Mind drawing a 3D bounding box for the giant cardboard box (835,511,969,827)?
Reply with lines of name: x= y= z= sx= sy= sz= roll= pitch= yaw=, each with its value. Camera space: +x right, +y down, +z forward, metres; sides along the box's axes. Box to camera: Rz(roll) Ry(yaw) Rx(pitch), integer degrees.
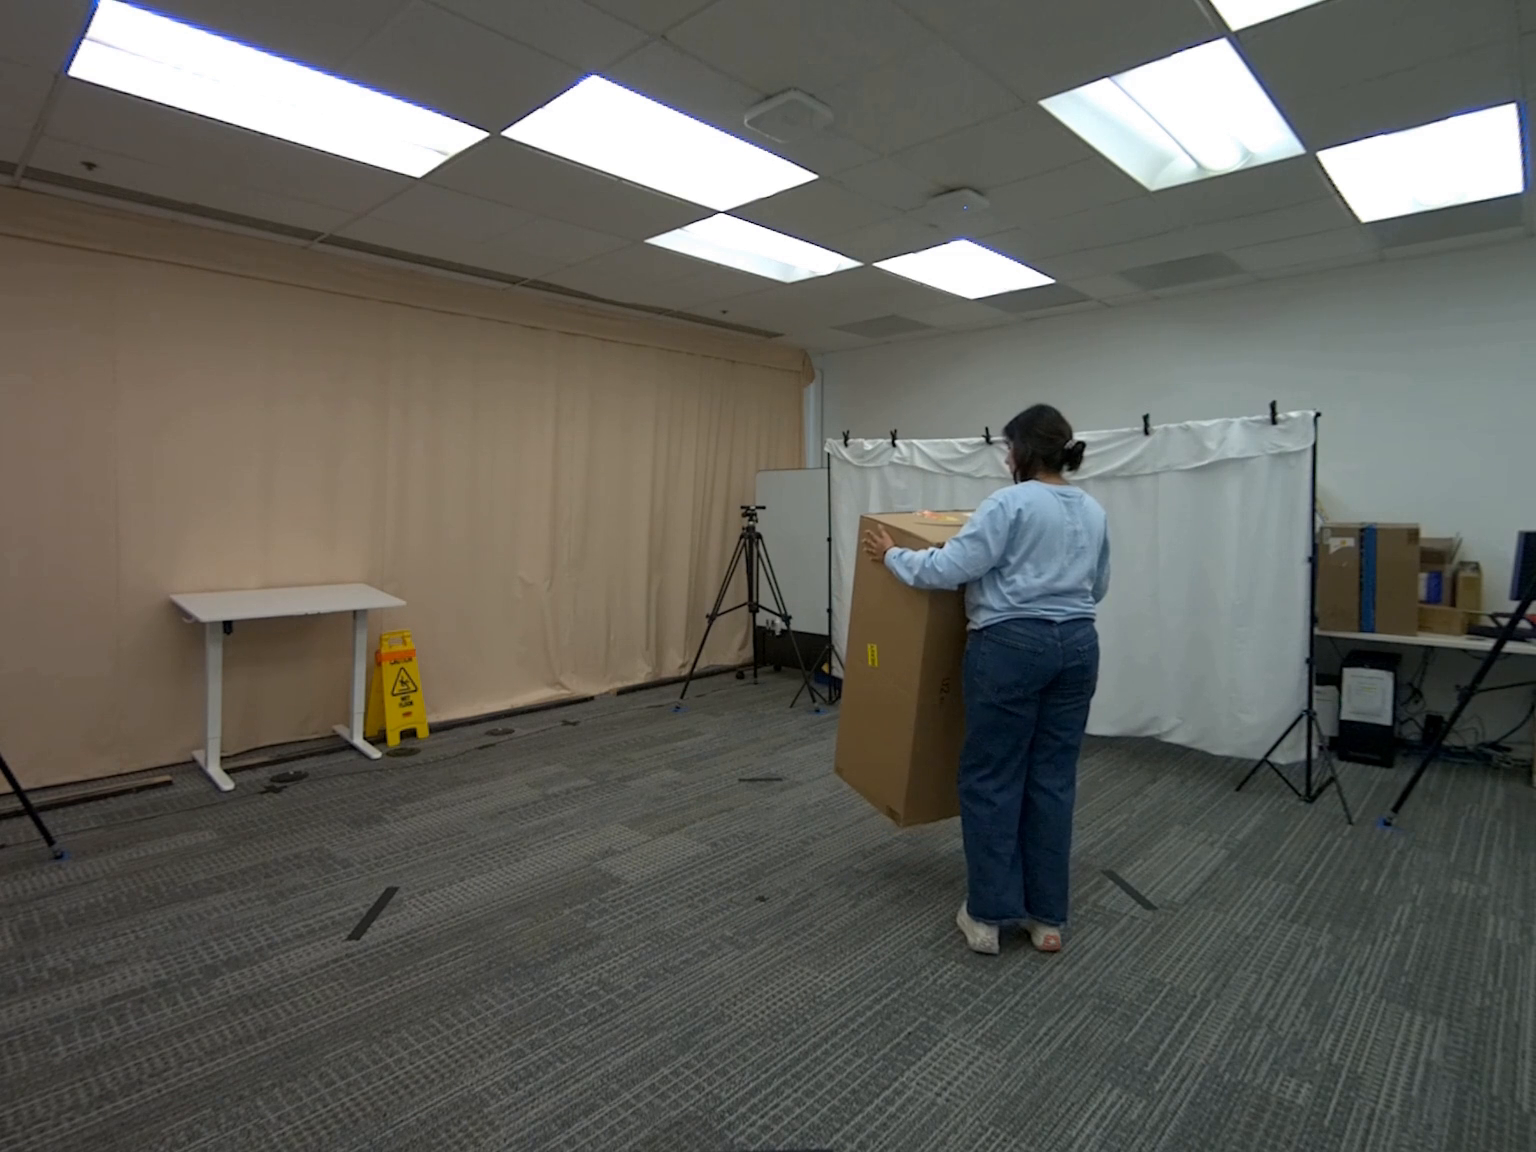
giant cardboard box: x=0.642 y=0.317 z=3.081 sx=0.563 sy=1.018 sz=0.440 roll=-4 pitch=16 yaw=-28
